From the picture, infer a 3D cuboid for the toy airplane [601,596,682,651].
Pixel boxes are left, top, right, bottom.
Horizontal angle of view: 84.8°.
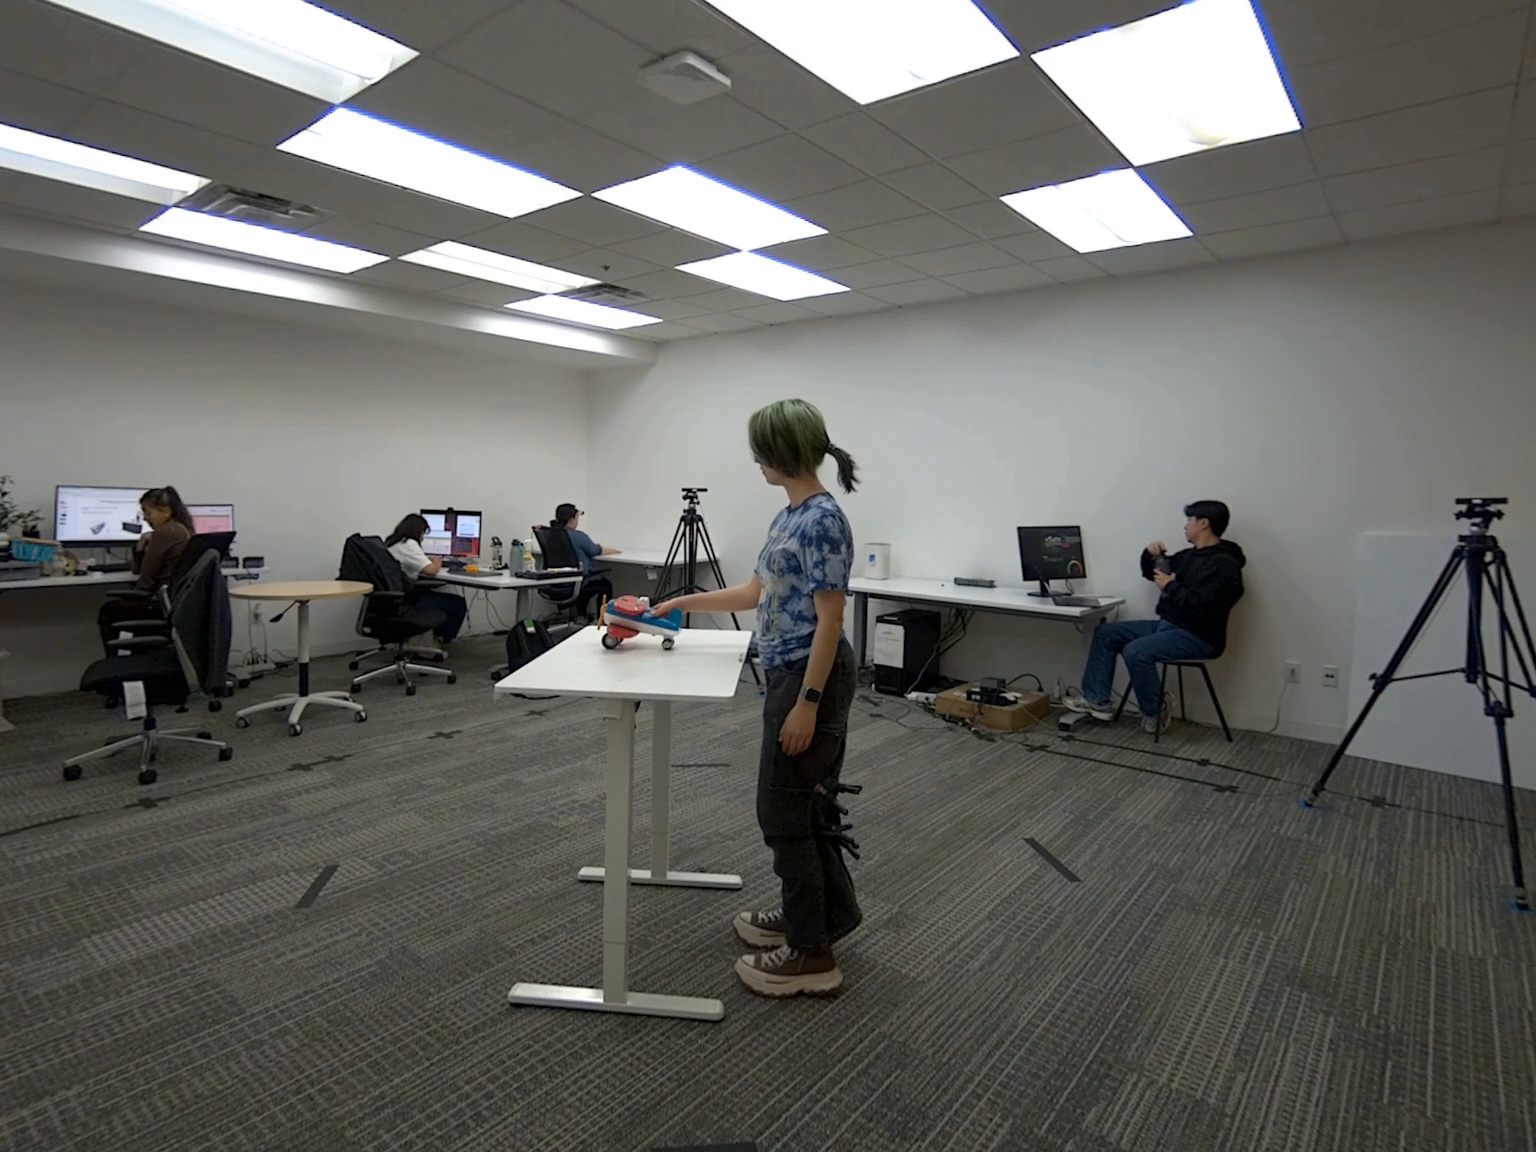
[{"bbox_3d":[-0.416,0.147,2.711,0.253,0.156,0.258,-1,4,-25],"label":"toy airplane"}]
